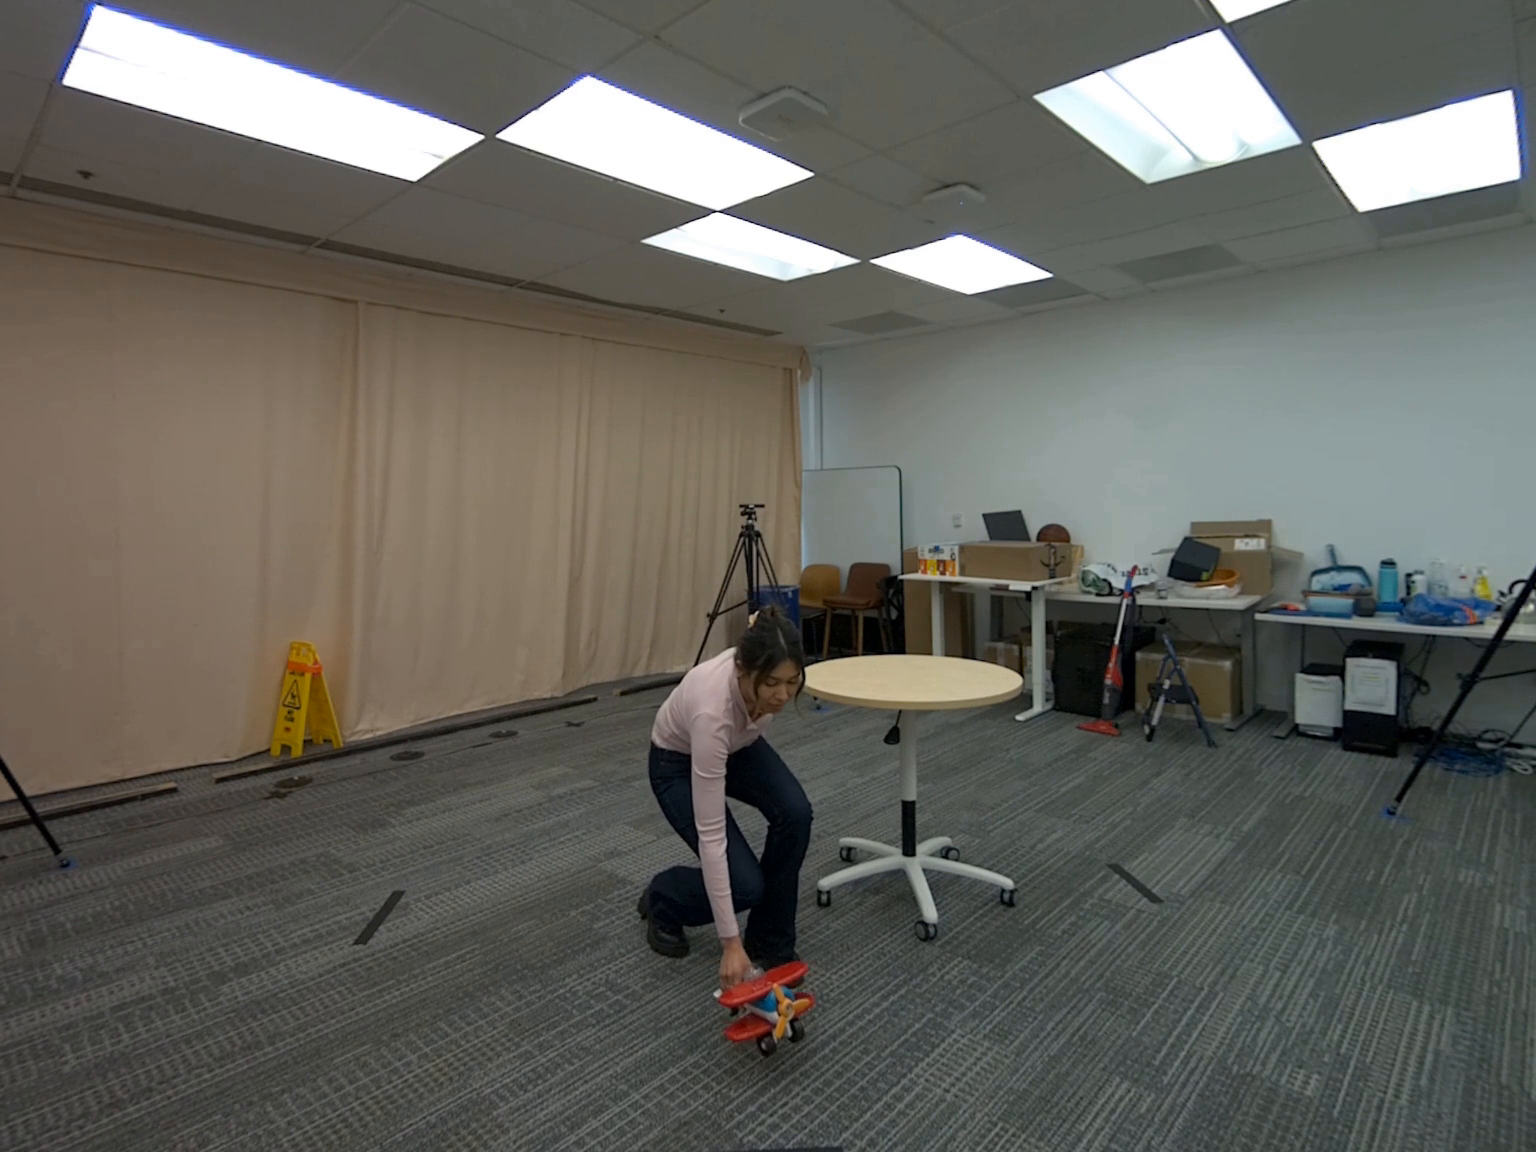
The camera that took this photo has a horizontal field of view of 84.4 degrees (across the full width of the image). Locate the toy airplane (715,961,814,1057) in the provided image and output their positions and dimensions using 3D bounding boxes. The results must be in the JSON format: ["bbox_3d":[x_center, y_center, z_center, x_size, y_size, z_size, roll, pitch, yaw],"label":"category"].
[{"bbox_3d":[-0.029,1.068,2.099,0.266,0.156,0.245,1,8,28],"label":"toy airplane"}]
